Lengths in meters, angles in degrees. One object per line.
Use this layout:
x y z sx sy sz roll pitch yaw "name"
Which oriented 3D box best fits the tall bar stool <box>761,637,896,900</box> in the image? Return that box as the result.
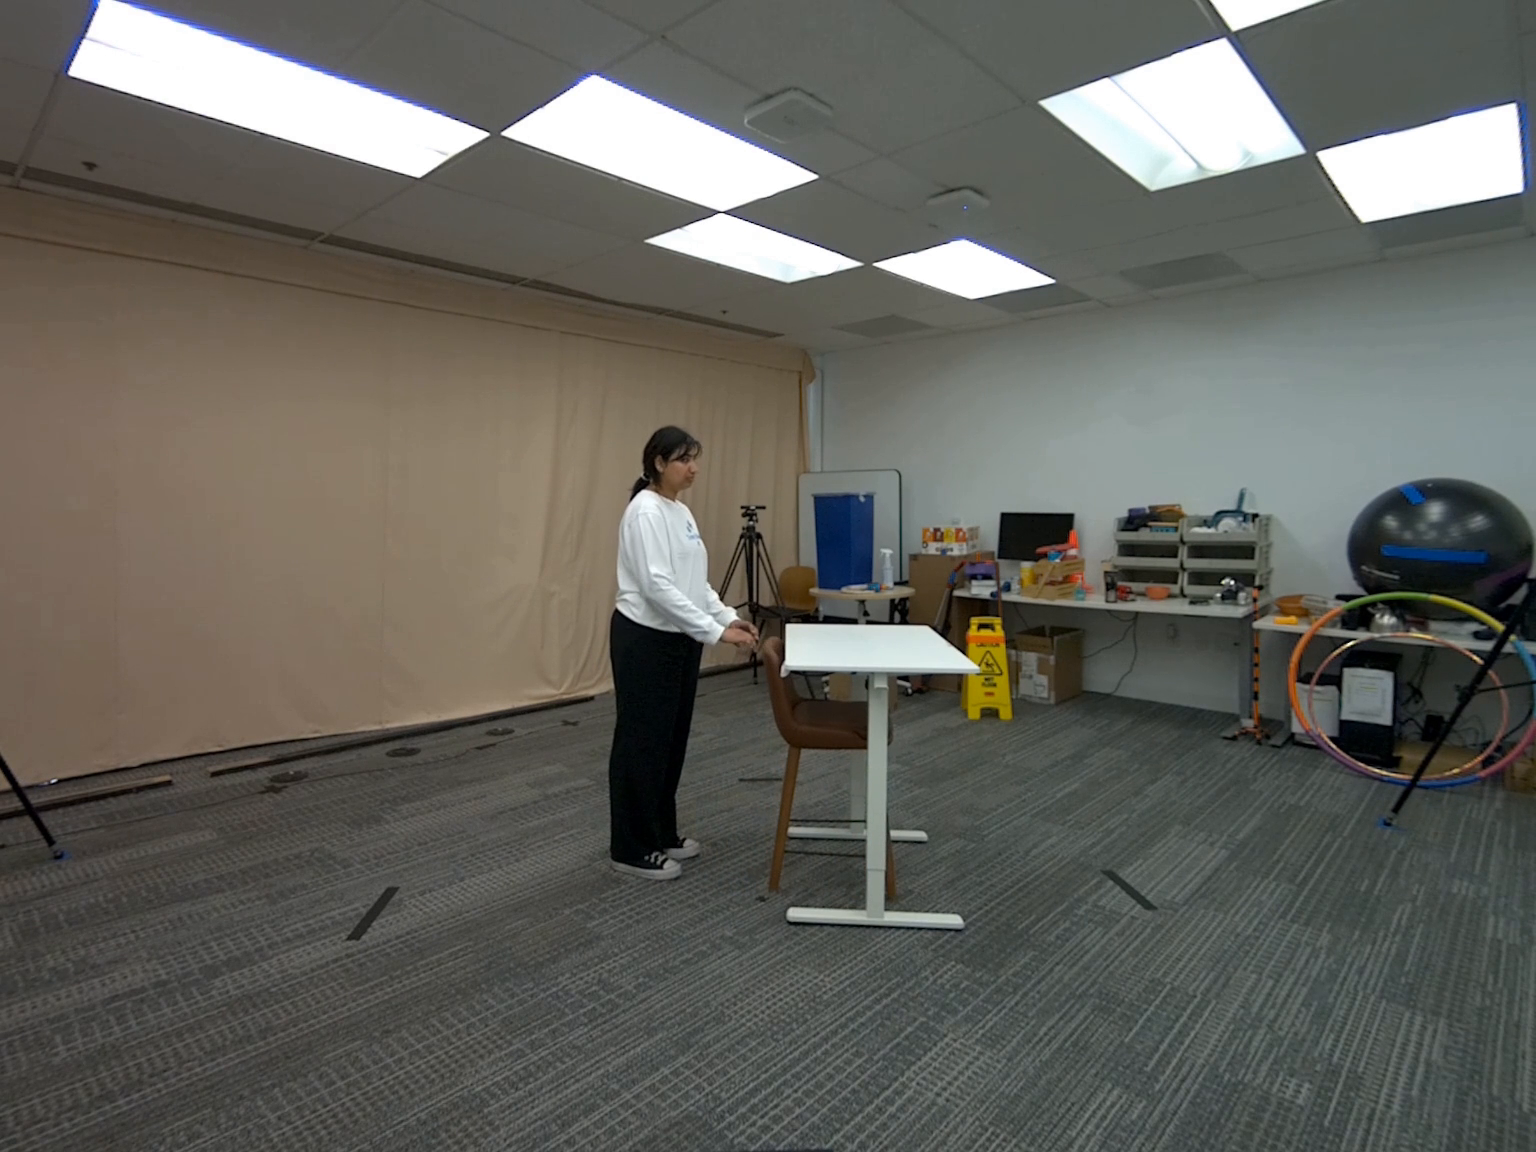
0.236 0.695 3.181 0.471 0.888 0.454 -1 3 6 "tall bar stool"
